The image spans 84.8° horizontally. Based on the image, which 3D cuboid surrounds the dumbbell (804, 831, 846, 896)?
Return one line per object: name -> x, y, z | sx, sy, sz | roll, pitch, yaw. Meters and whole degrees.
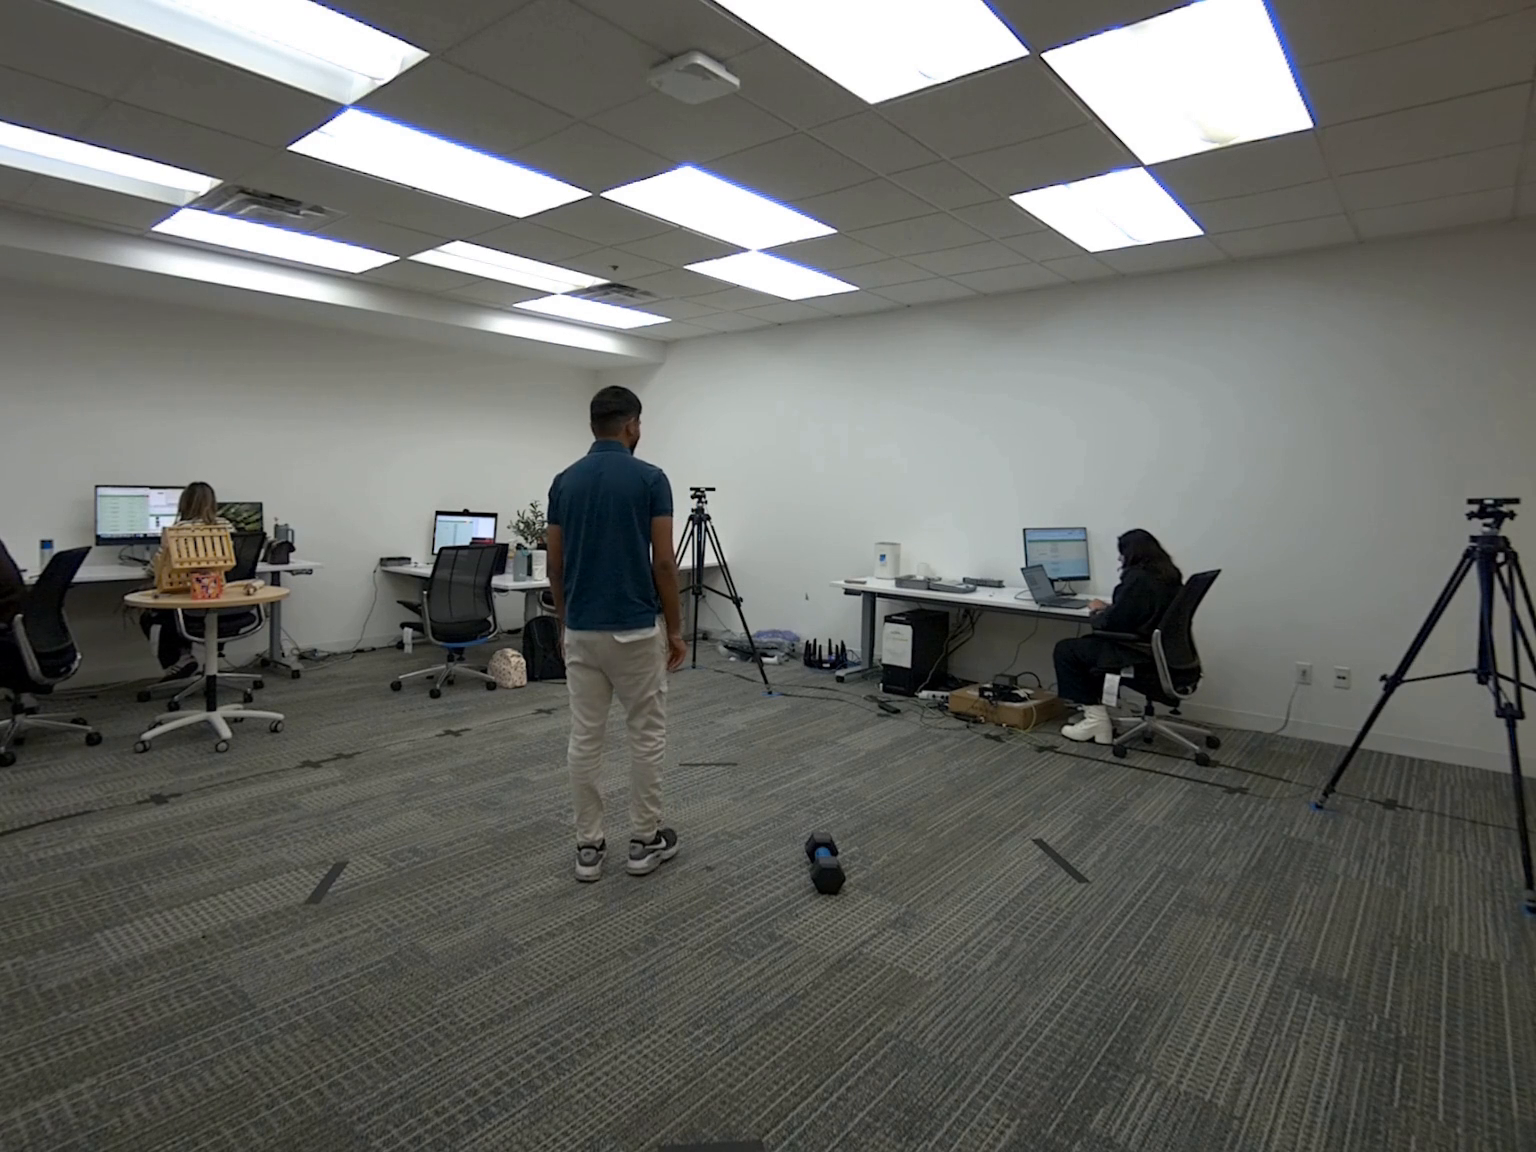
dumbbell -> 0.195, 1.027, 3.061 | 0.108, 0.123, 0.295 | 32, 3, -5
